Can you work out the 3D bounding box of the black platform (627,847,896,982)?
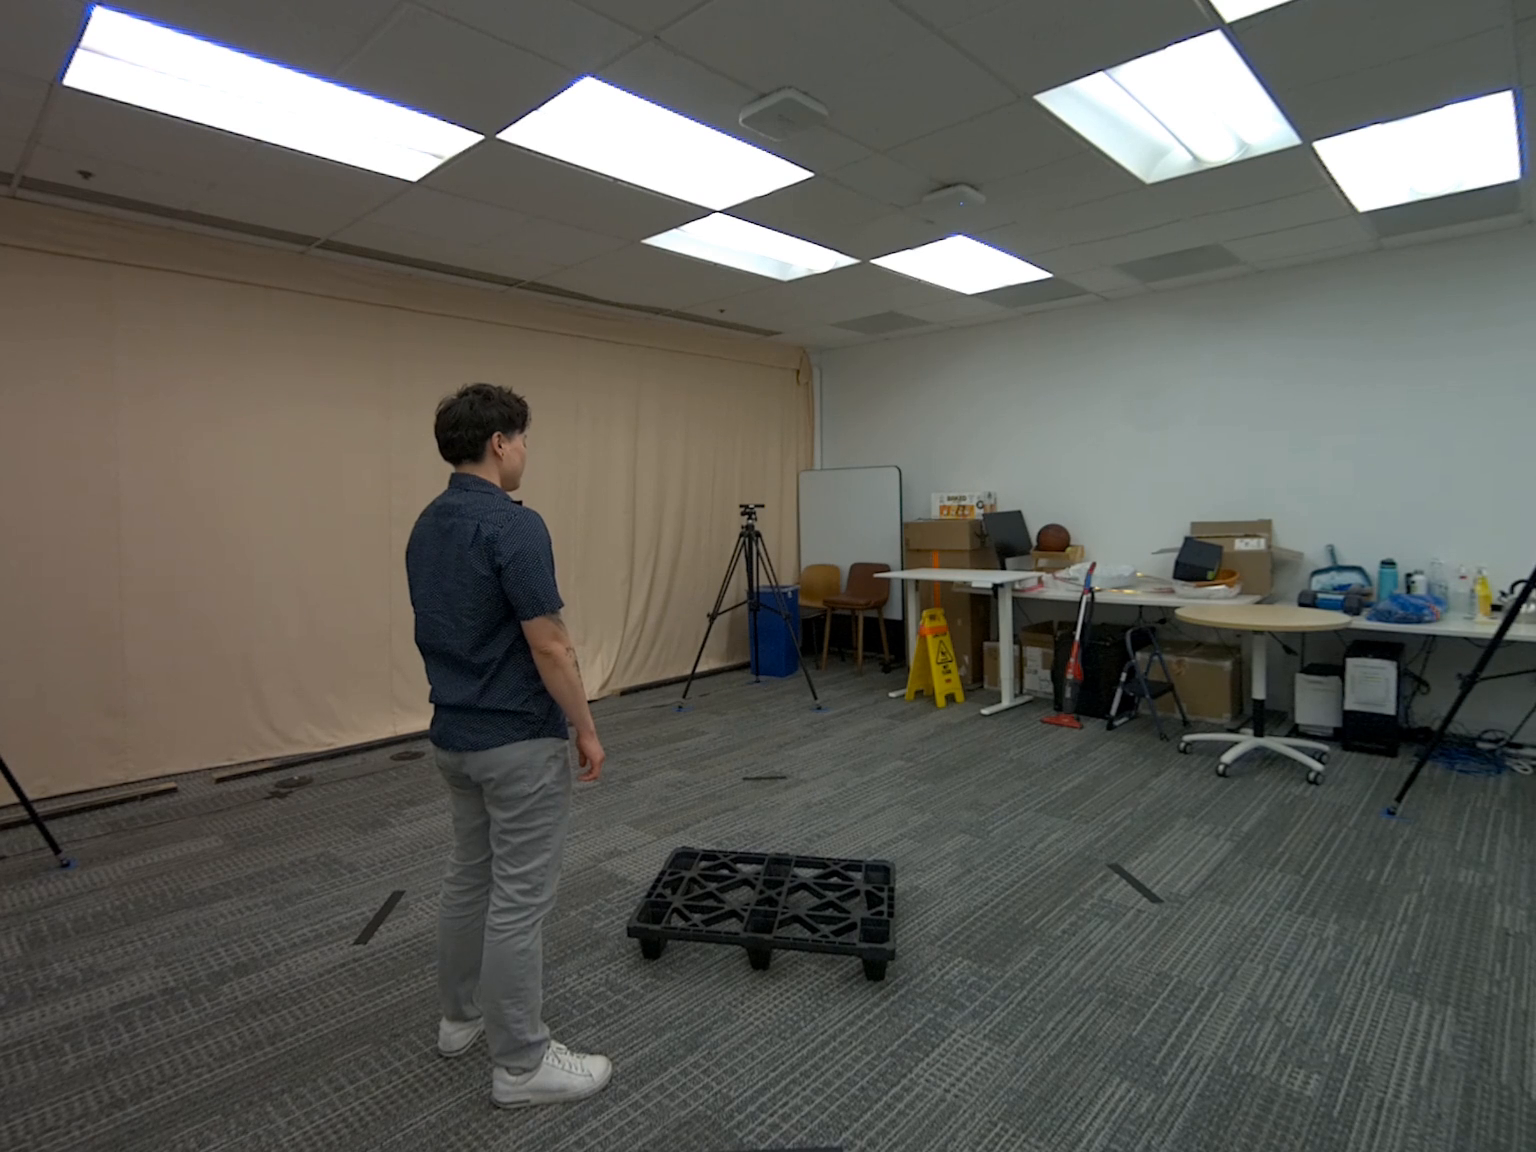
[{"bbox_3d":[0.010,1.092,2.748,0.815,0.143,0.599,0,5,10],"label":"black platform"}]
